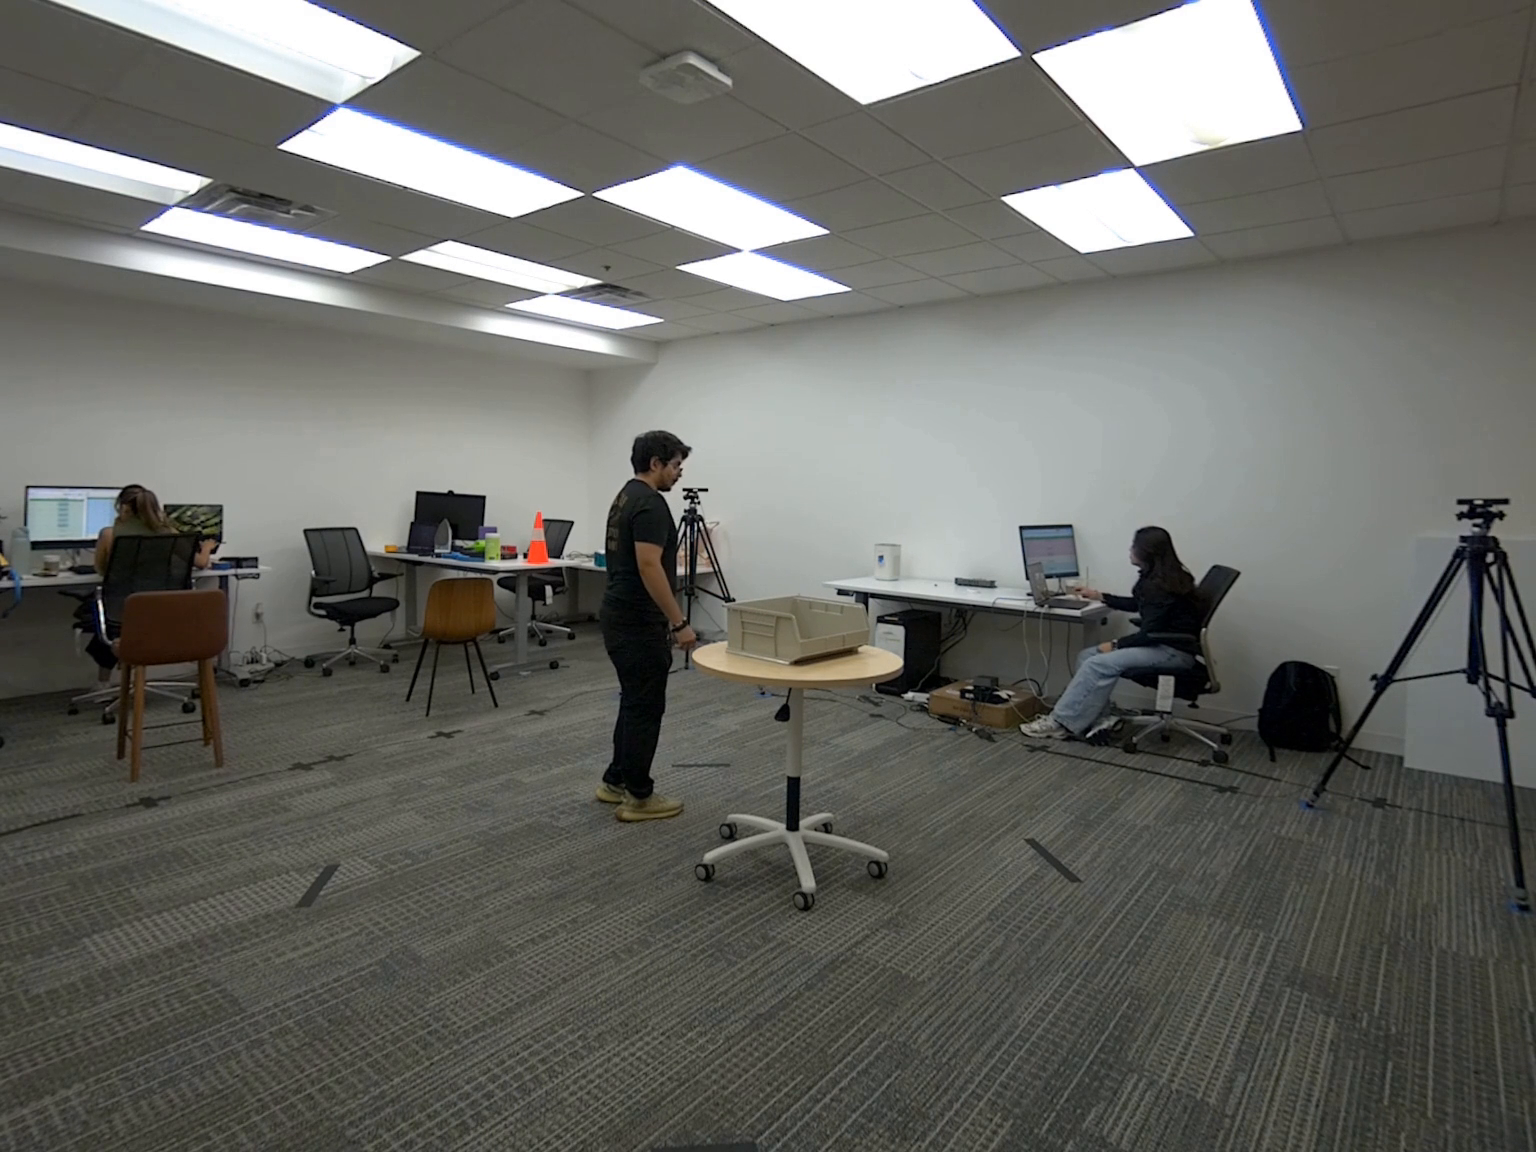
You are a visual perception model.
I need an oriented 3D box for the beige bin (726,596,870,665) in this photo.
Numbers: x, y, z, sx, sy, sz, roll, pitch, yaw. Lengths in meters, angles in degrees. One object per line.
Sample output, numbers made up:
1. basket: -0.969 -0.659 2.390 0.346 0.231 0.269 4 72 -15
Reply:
1. beige bin: 0.106 0.197 3.182 0.390 0.188 0.410 5 7 44
